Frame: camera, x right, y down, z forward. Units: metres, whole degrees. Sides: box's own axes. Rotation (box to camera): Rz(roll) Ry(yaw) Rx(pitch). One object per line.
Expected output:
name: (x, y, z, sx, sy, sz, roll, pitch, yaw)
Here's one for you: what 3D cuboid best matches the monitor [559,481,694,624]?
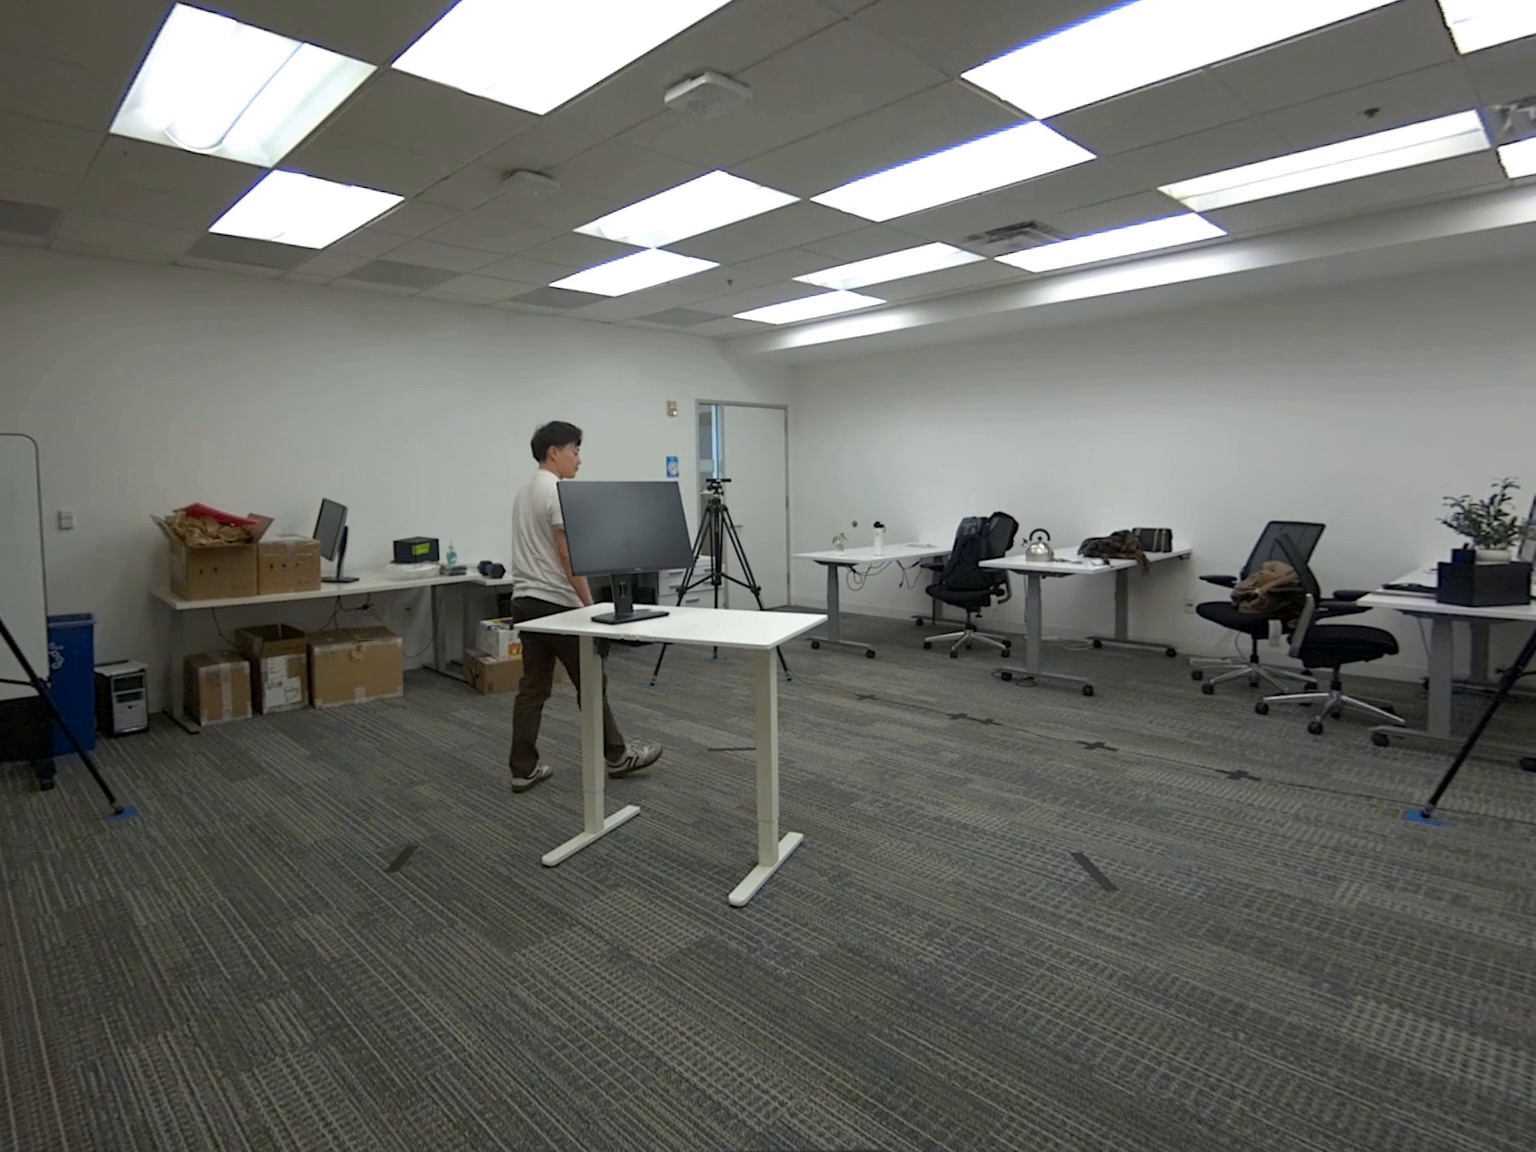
monitor: (-0.535, -0.095, 3.212, 0.524, 0.522, 0.192, -5, 1, -43)
